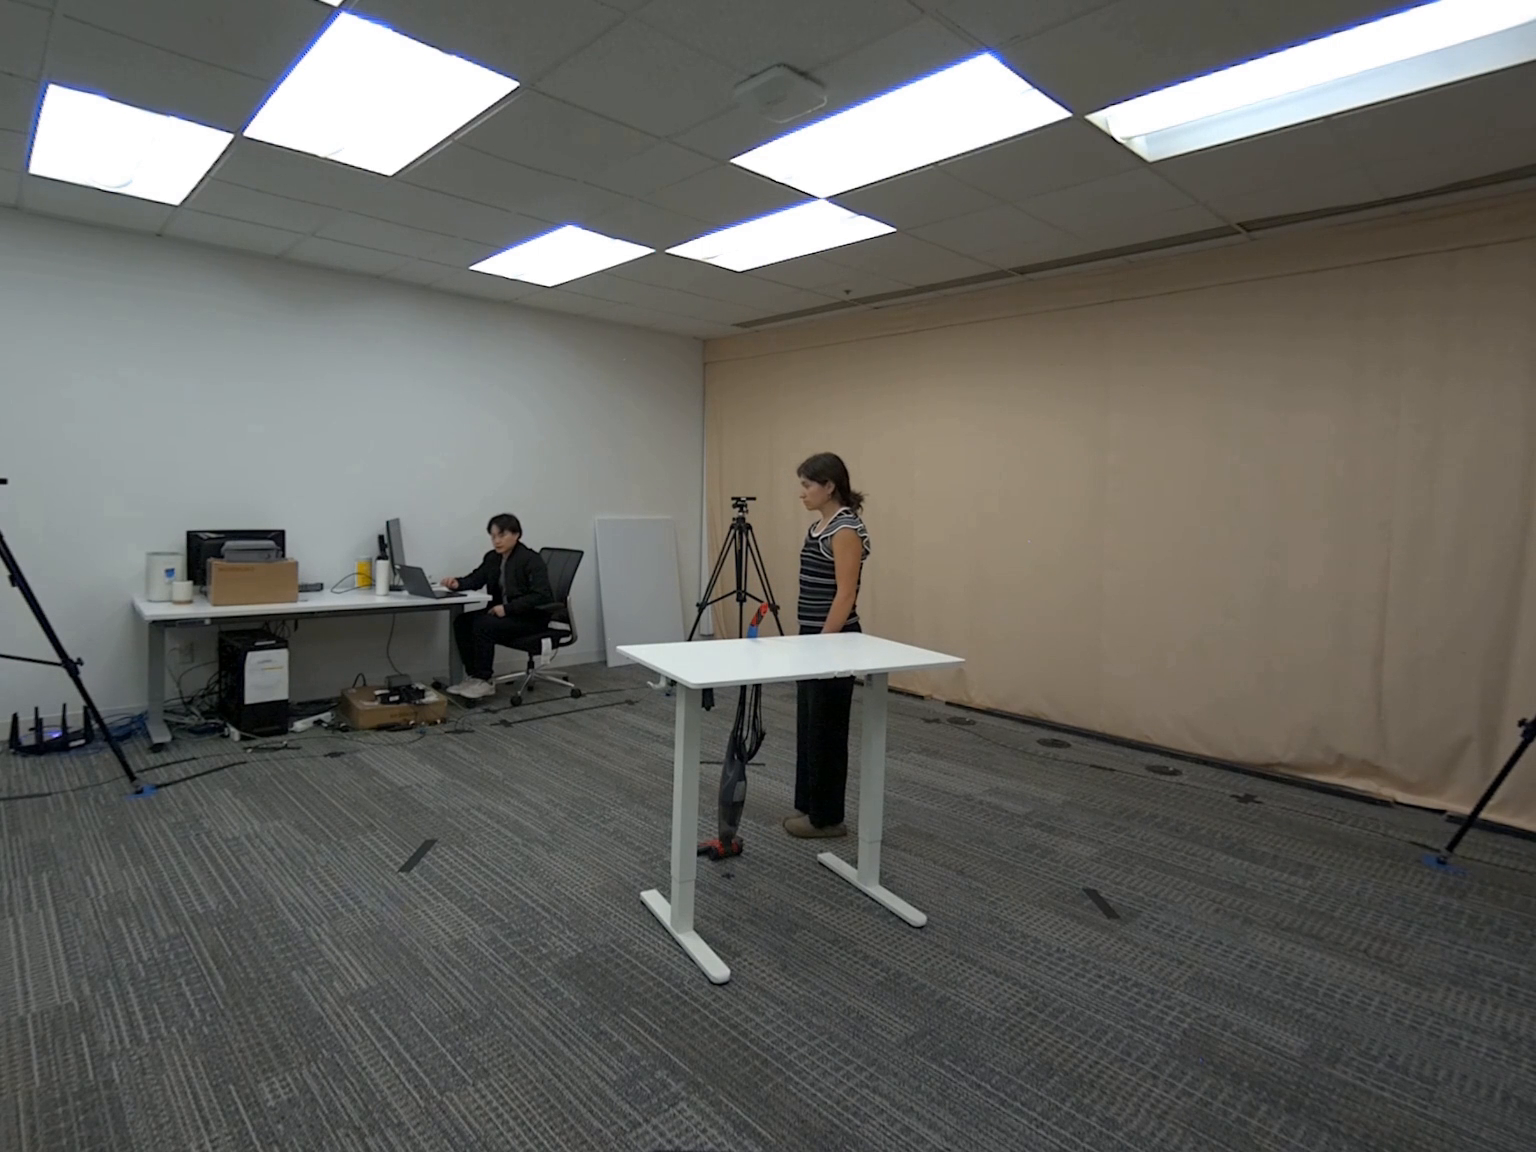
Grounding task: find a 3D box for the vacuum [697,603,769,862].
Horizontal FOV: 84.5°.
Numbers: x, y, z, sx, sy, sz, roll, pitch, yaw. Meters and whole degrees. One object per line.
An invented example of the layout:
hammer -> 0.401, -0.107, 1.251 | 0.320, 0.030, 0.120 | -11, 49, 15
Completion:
vacuum -> -0.109, 0.601, 3.166 | 0.247, 1.039, 0.148 | -1, 20, -33
